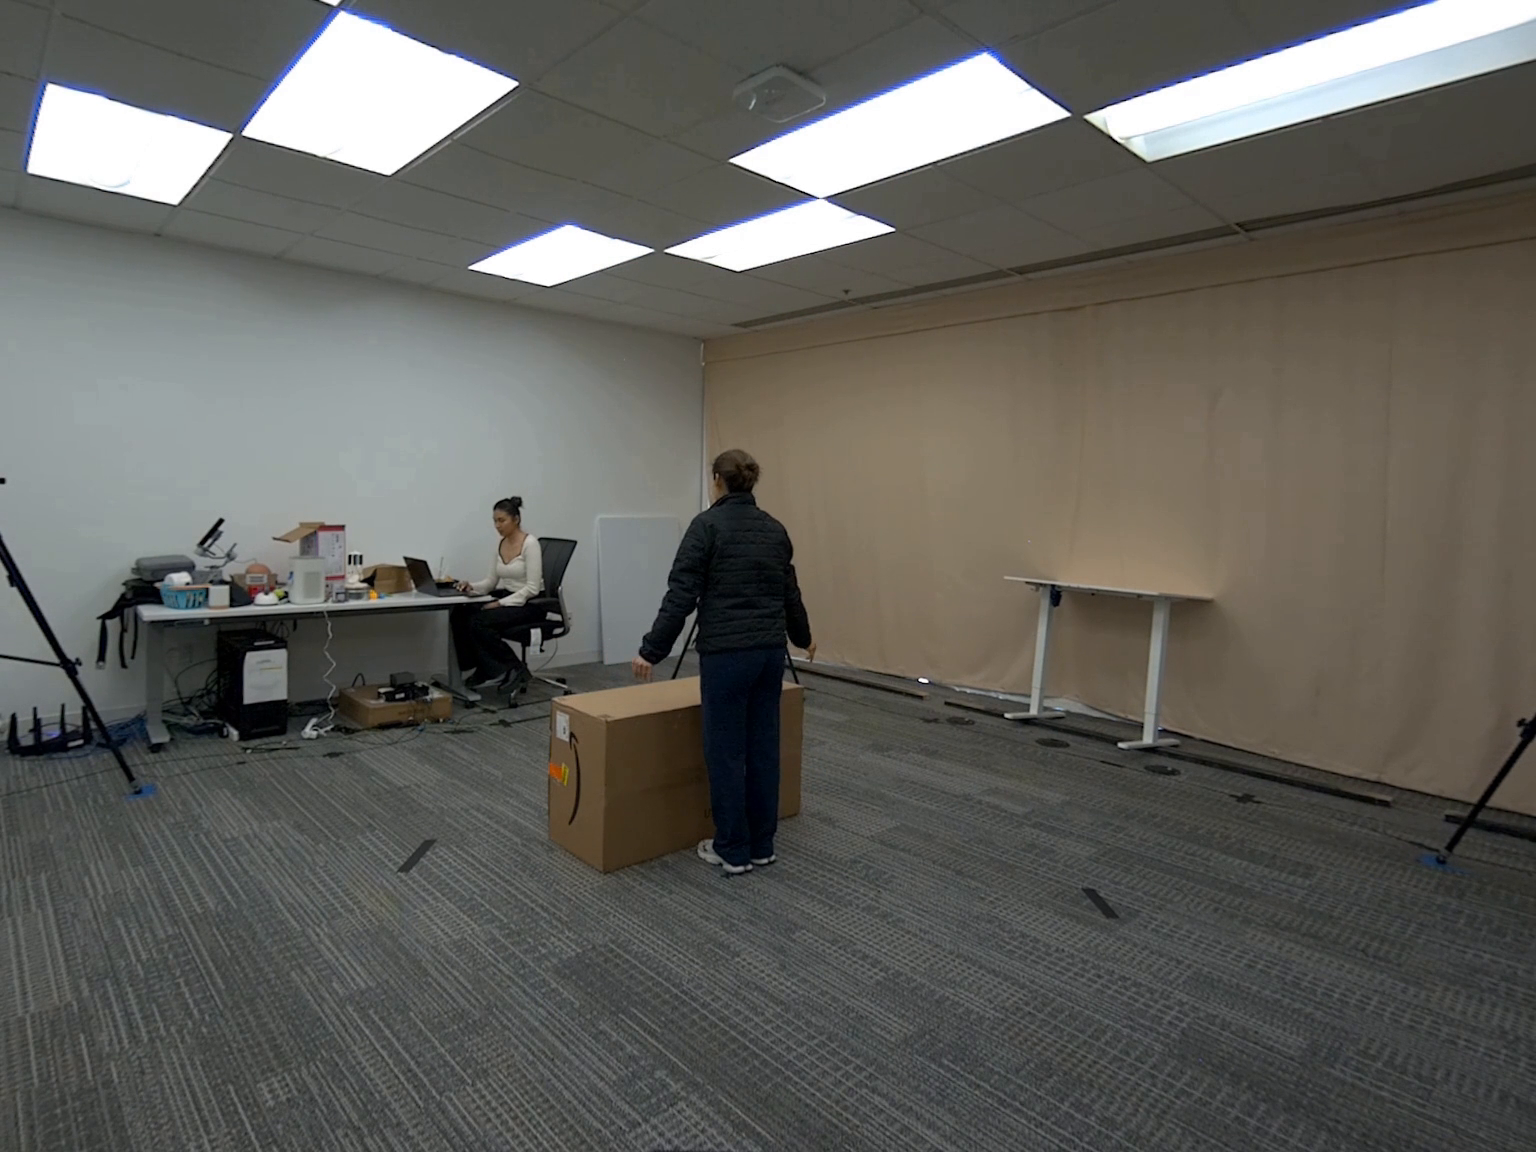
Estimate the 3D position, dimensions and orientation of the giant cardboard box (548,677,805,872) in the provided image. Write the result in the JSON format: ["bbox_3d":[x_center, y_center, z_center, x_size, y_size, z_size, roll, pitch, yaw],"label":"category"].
[{"bbox_3d":[-0.374,0.775,3.552,1.003,0.582,0.458,-2,6,-41],"label":"giant cardboard box"}]
